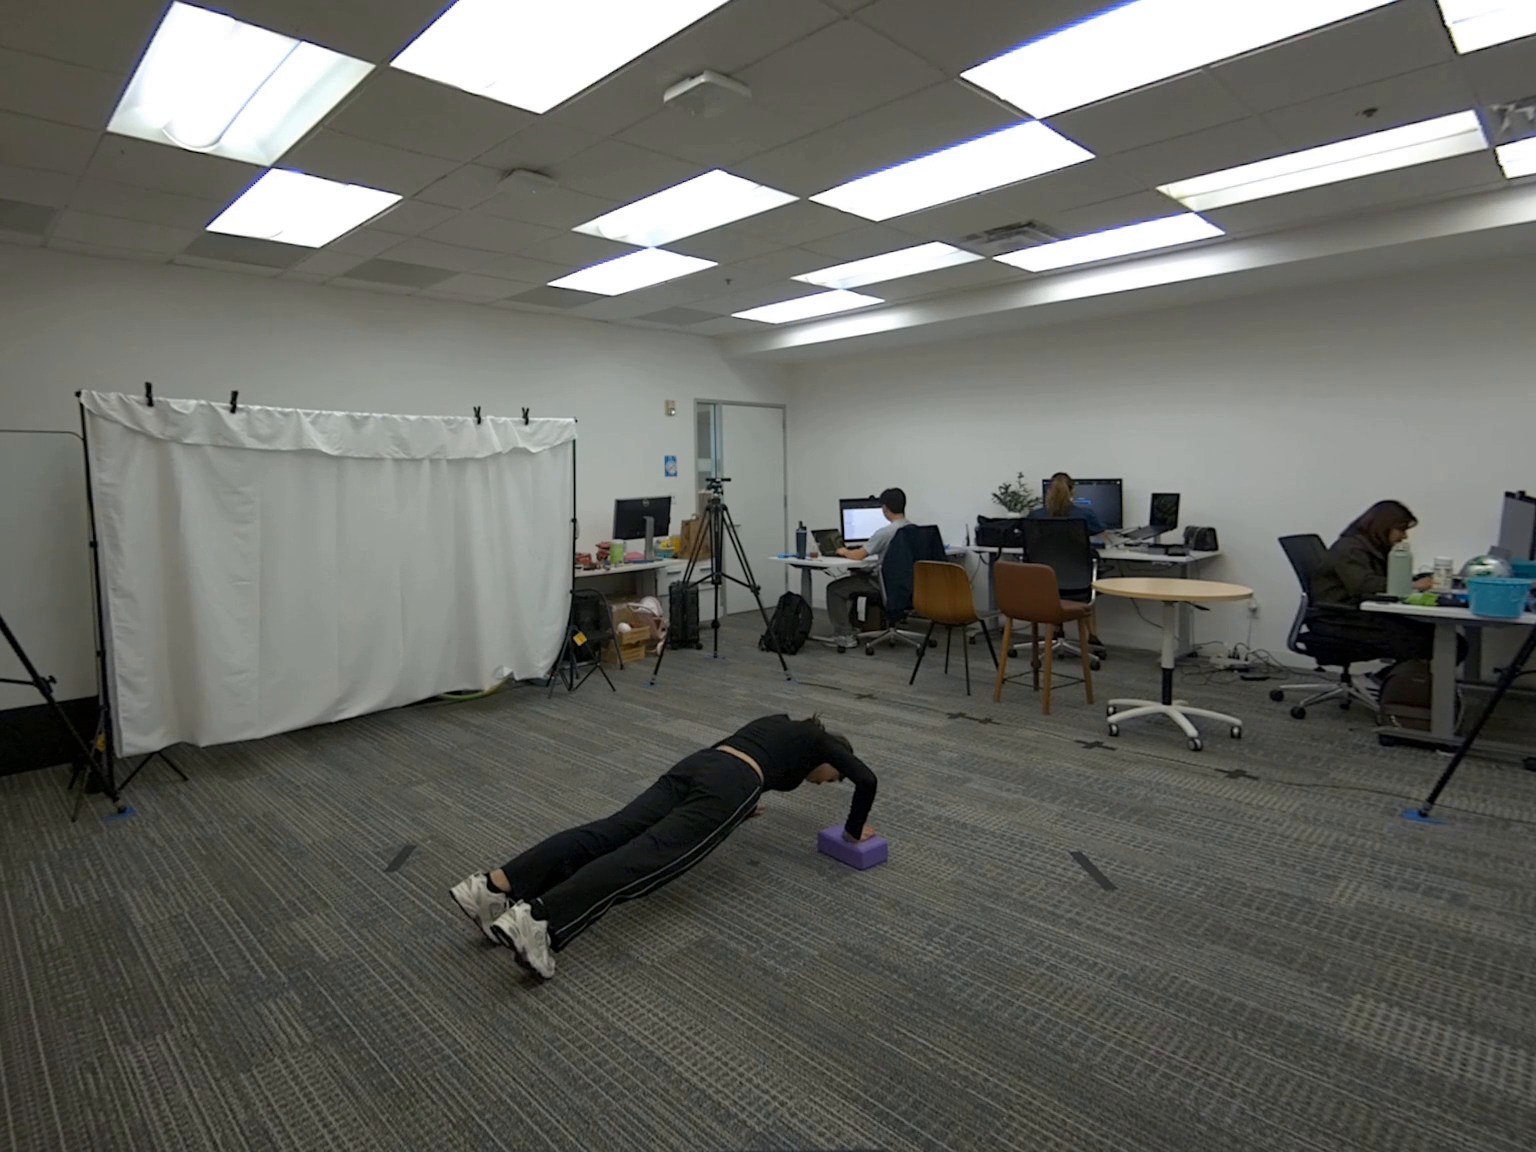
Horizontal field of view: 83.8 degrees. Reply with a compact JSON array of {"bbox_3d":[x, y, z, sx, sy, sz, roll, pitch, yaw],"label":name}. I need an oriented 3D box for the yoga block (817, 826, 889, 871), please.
[{"bbox_3d":[0.310,0.993,3.150,0.145,0.076,0.236,-5,7,-39],"label":"yoga block"}]
